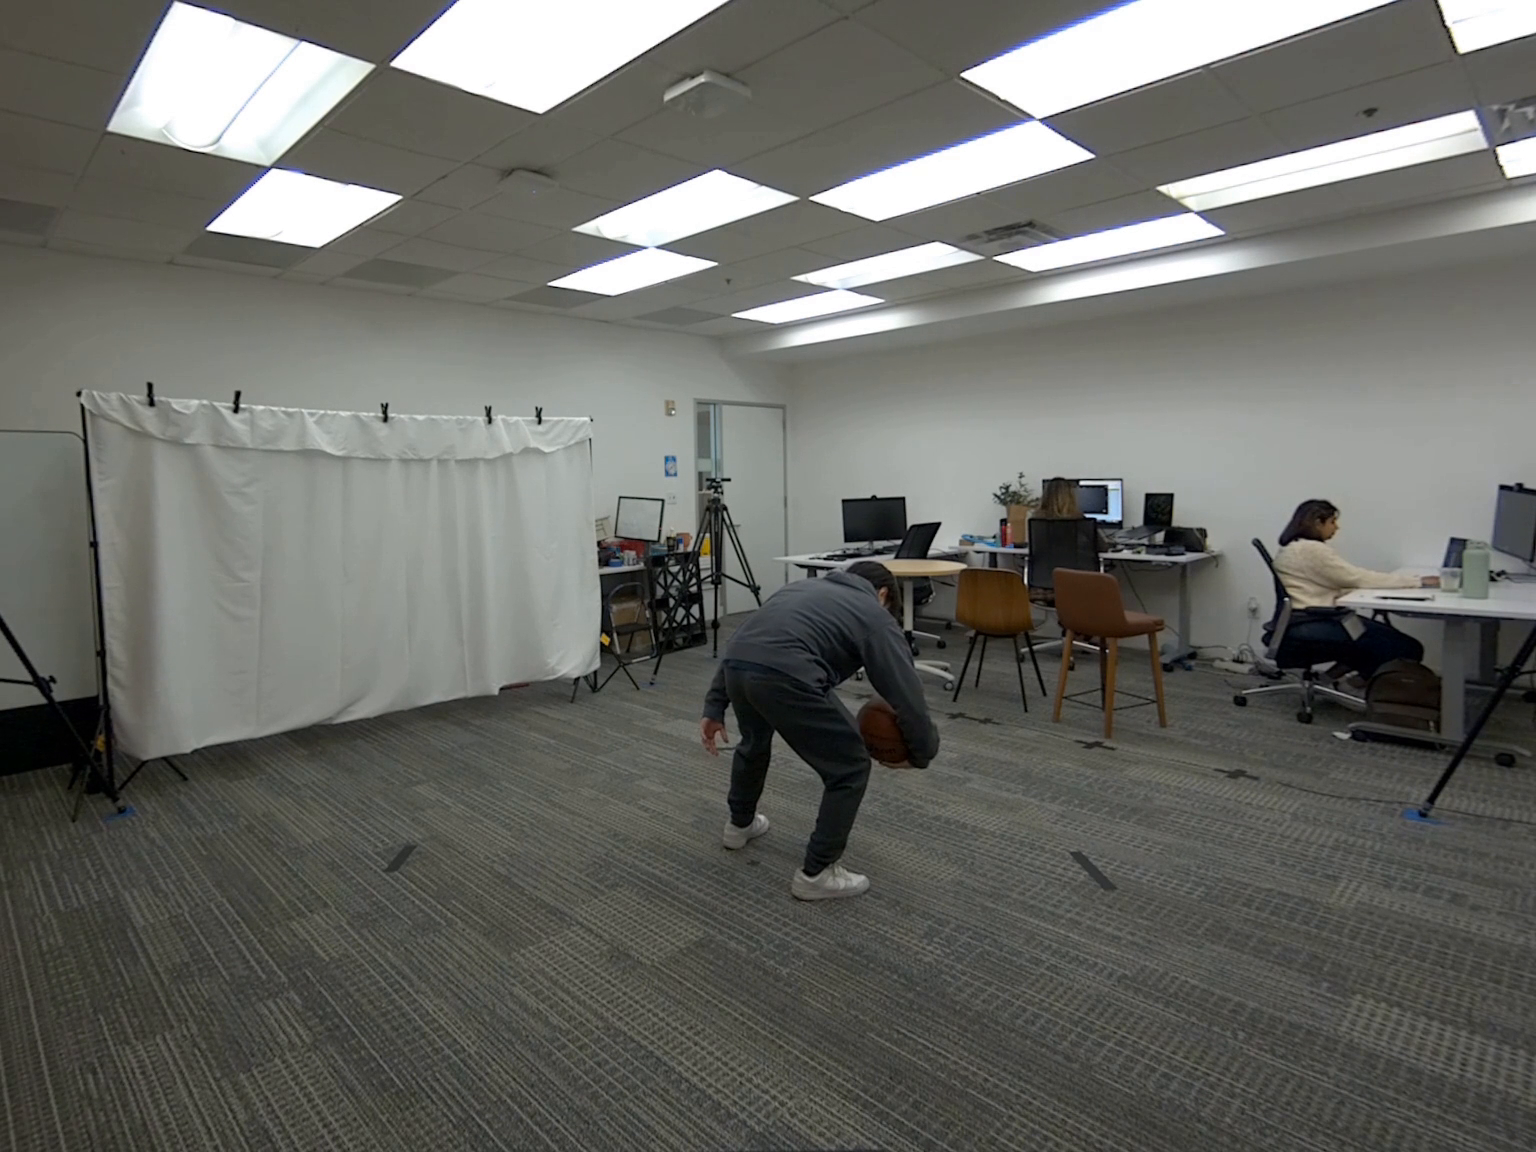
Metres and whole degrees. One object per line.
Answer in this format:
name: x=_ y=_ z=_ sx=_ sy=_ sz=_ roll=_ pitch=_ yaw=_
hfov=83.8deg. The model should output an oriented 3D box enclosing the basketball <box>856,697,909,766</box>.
basketball: x=0.423 y=0.549 z=3.066 sx=0.236 sy=0.235 sz=0.237 roll=-1 pitch=5 yaw=-2
